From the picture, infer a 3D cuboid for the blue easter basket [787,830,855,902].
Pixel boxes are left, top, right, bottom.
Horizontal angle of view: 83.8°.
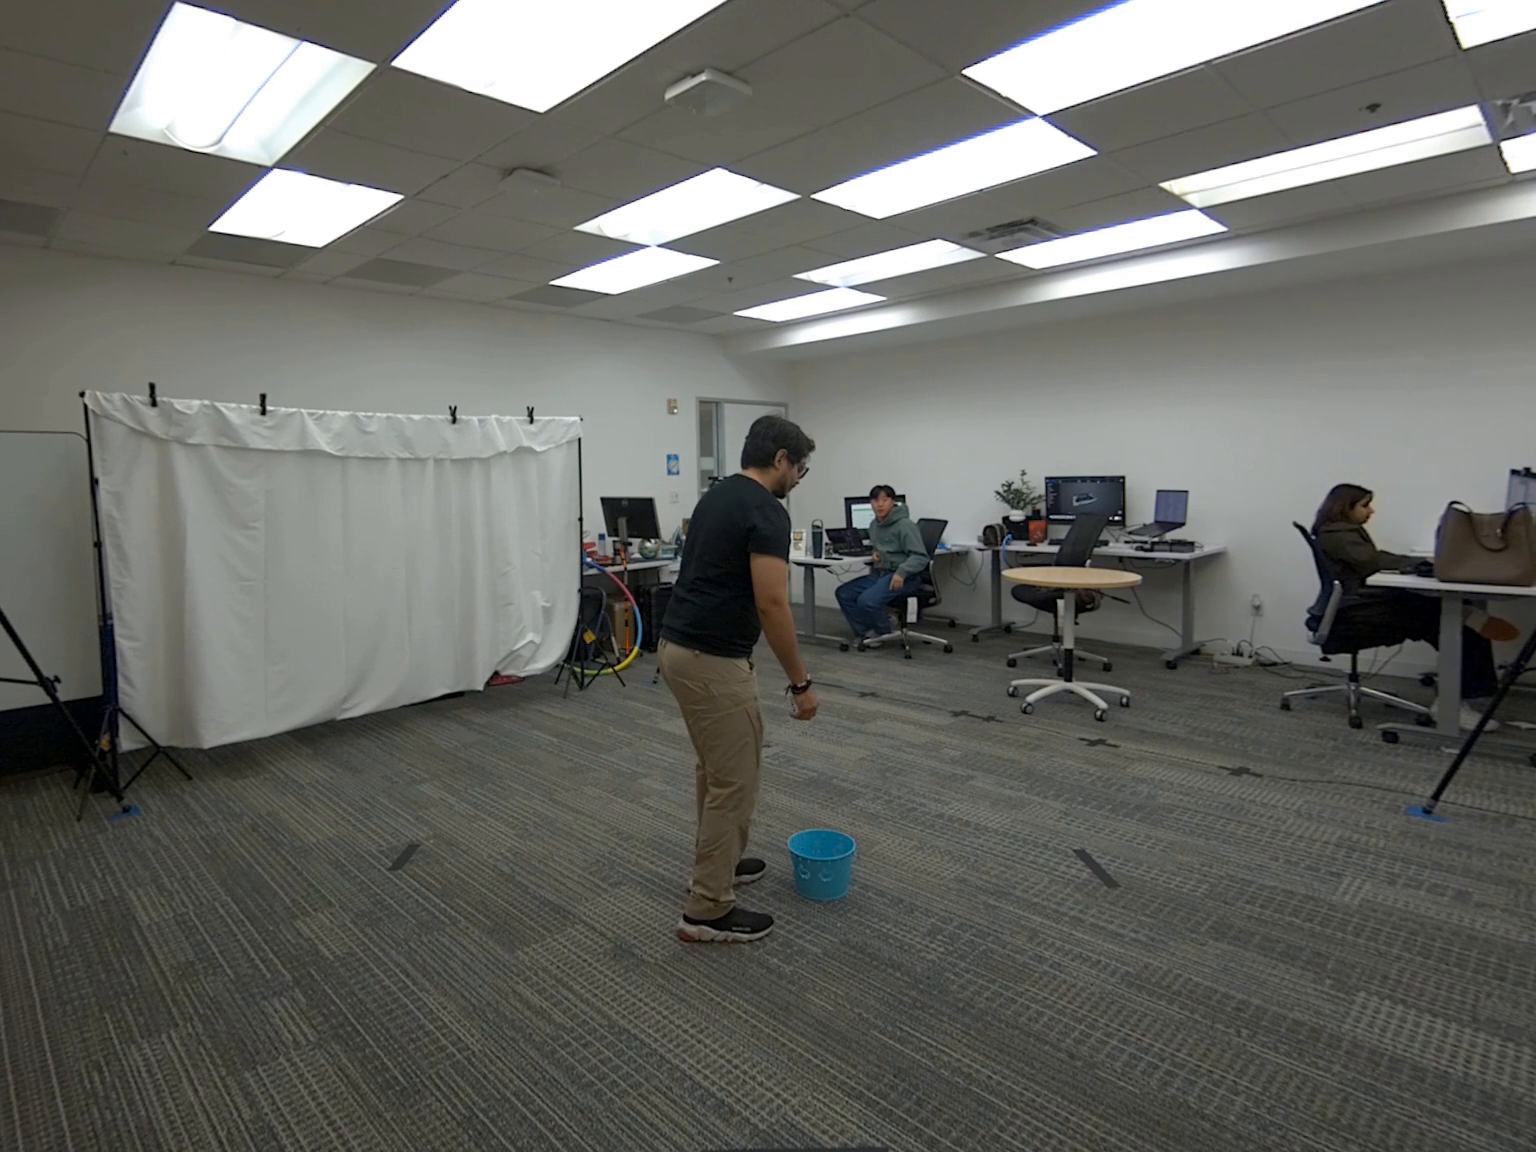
[{"bbox_3d":[0.184,0.975,2.898,0.243,0.155,0.245,-2,5,-2],"label":"blue easter basket"}]
